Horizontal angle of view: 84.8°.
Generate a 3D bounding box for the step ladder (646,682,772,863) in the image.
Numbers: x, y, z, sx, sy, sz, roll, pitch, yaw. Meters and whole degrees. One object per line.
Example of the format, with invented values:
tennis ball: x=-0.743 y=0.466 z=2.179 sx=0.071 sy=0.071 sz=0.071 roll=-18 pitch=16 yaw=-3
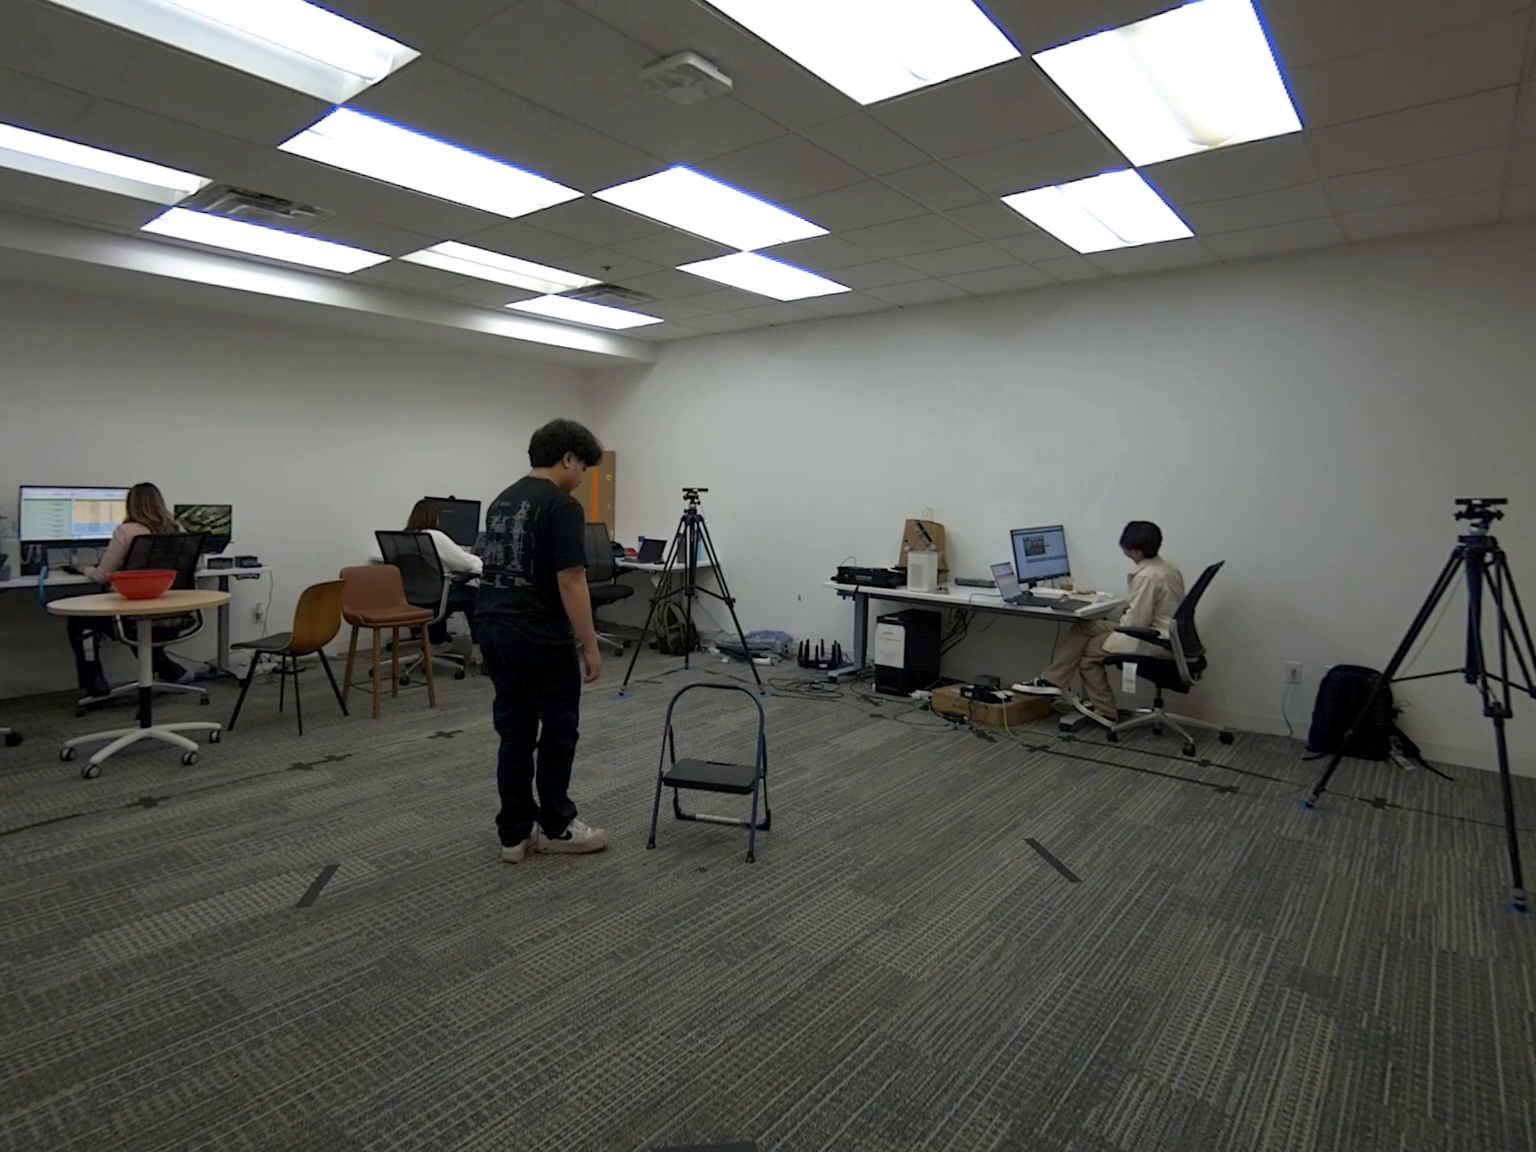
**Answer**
step ladder: x=-0.228 y=0.745 z=3.373 sx=0.438 sy=0.604 sz=0.345 roll=2 pitch=4 yaw=14
